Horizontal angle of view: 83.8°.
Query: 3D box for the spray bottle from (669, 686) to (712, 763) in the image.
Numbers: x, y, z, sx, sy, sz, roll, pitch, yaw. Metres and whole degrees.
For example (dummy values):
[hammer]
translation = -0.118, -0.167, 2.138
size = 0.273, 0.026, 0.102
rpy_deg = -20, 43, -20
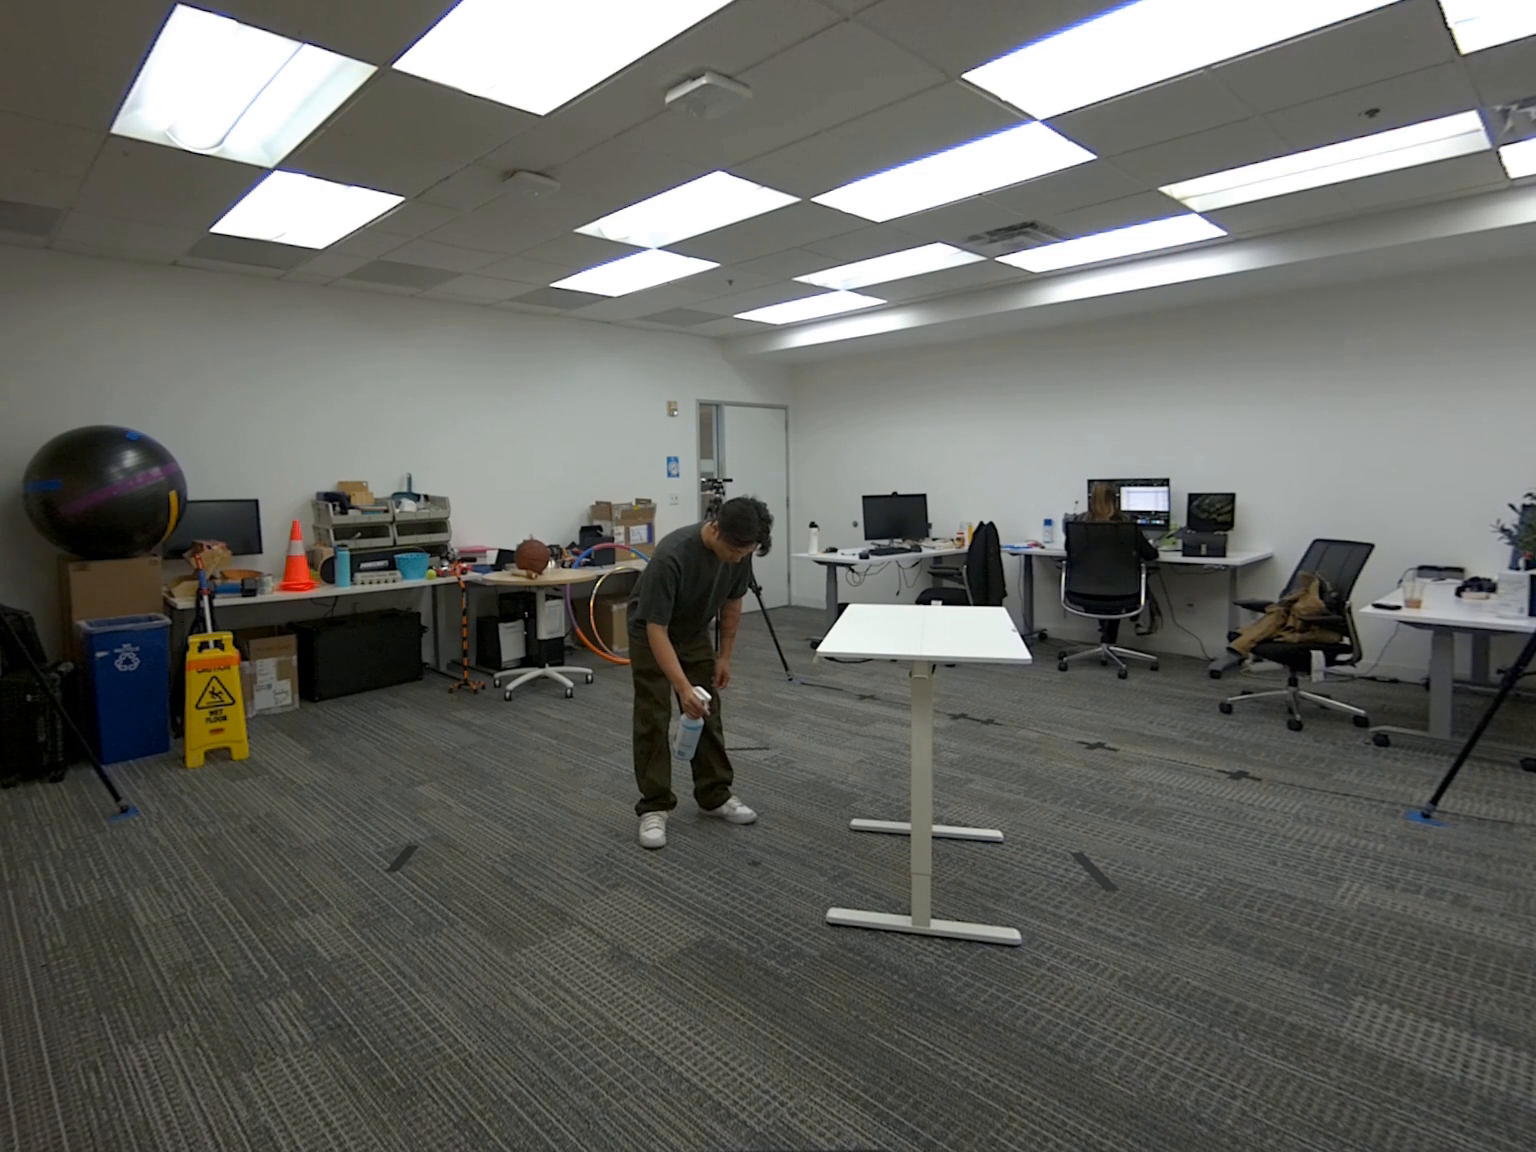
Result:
[spray bottle]
translation = -0.279, 0.533, 3.074
size = 0.085, 0.293, 0.093
rpy_deg = 10, 25, -18
